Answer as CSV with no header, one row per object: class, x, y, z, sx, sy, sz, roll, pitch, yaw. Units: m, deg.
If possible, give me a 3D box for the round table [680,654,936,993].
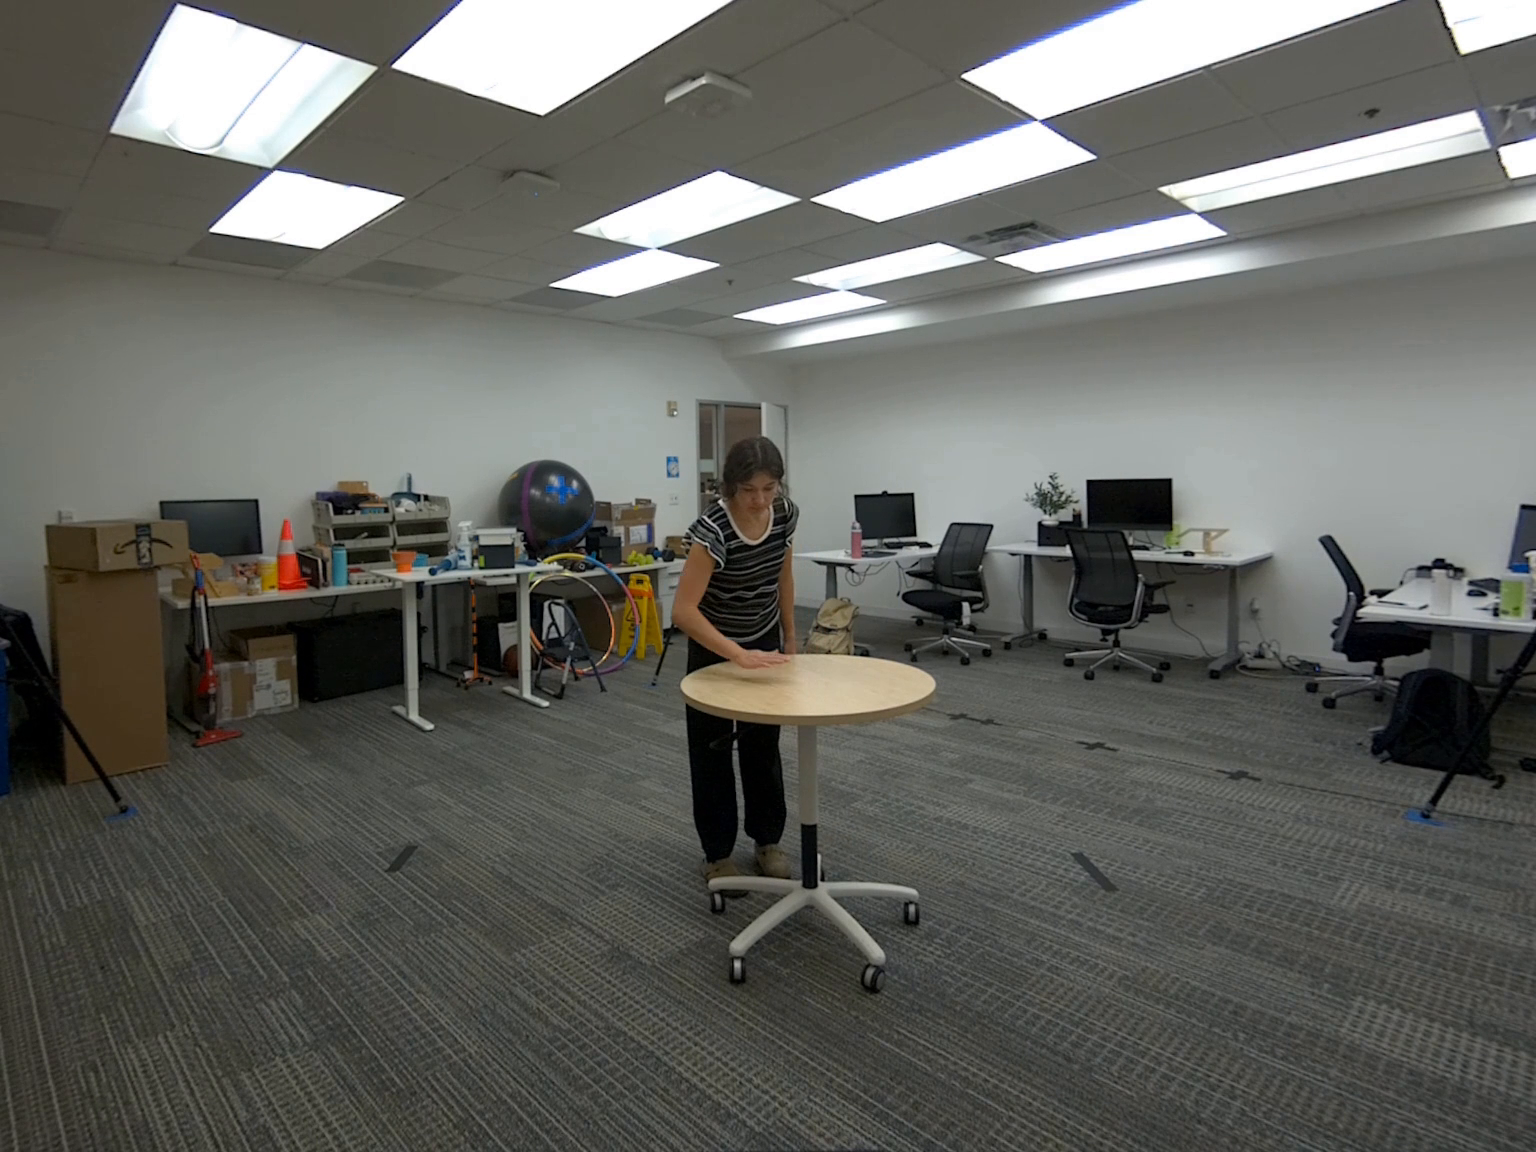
round table,0.135,0.711,2.614,0.763,0.791,0.768,-2,5,-2
